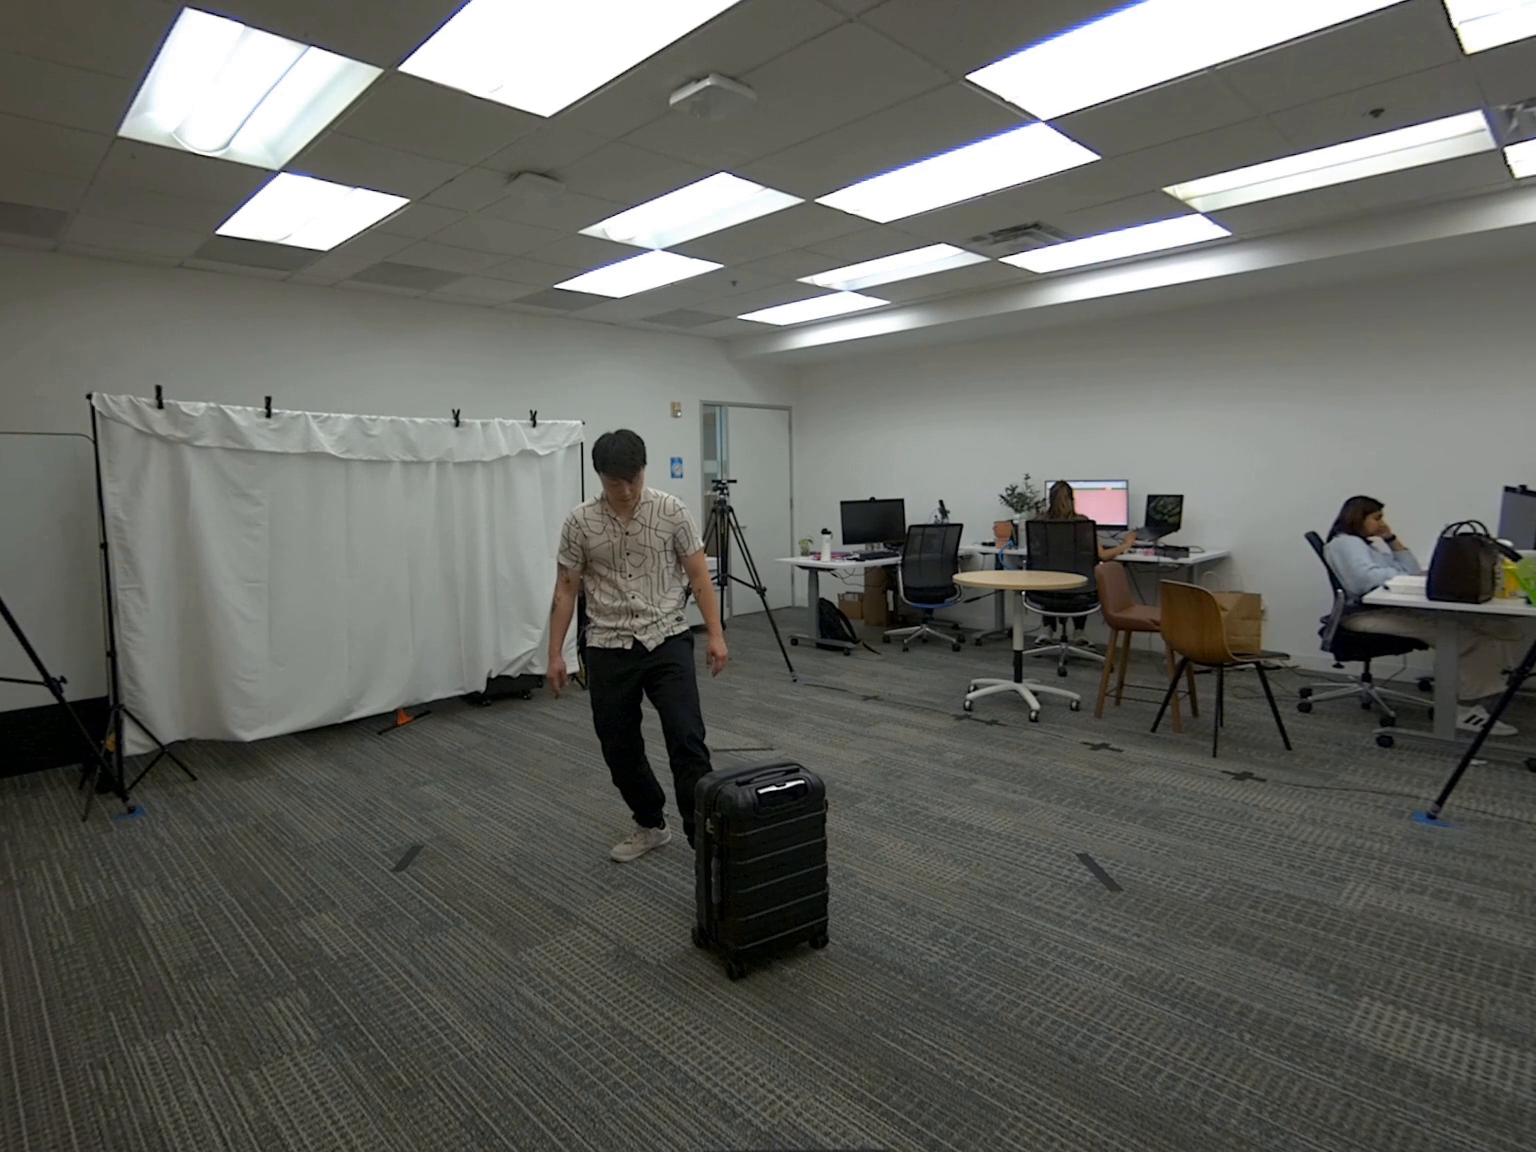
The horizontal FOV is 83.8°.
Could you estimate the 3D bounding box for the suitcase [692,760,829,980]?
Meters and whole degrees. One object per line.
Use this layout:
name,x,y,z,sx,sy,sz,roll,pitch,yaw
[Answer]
suitcase,-0.018,0.835,2.531,0.366,0.547,0.255,-4,5,-33
